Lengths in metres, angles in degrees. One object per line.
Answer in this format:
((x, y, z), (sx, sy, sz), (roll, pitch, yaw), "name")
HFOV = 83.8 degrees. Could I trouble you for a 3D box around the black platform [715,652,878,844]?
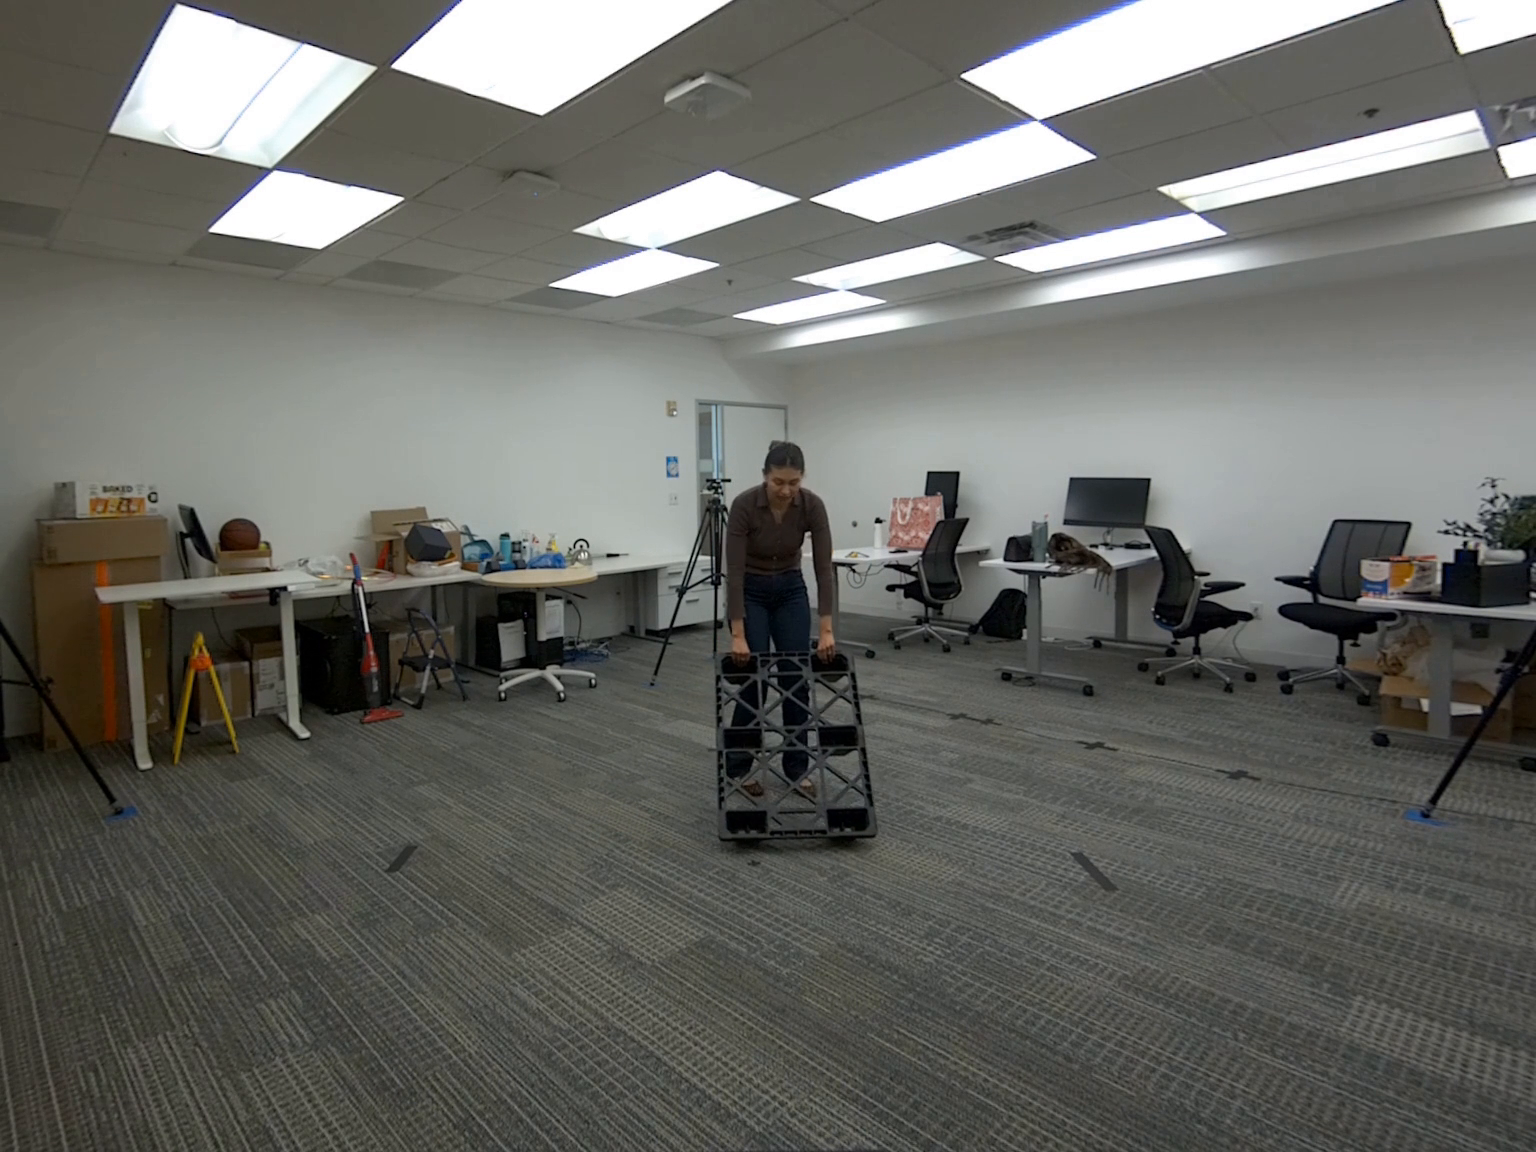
((0.089, 0.683, 3.487), (0.604, 0.828, 0.139), (-2, -38, -2), "black platform")
